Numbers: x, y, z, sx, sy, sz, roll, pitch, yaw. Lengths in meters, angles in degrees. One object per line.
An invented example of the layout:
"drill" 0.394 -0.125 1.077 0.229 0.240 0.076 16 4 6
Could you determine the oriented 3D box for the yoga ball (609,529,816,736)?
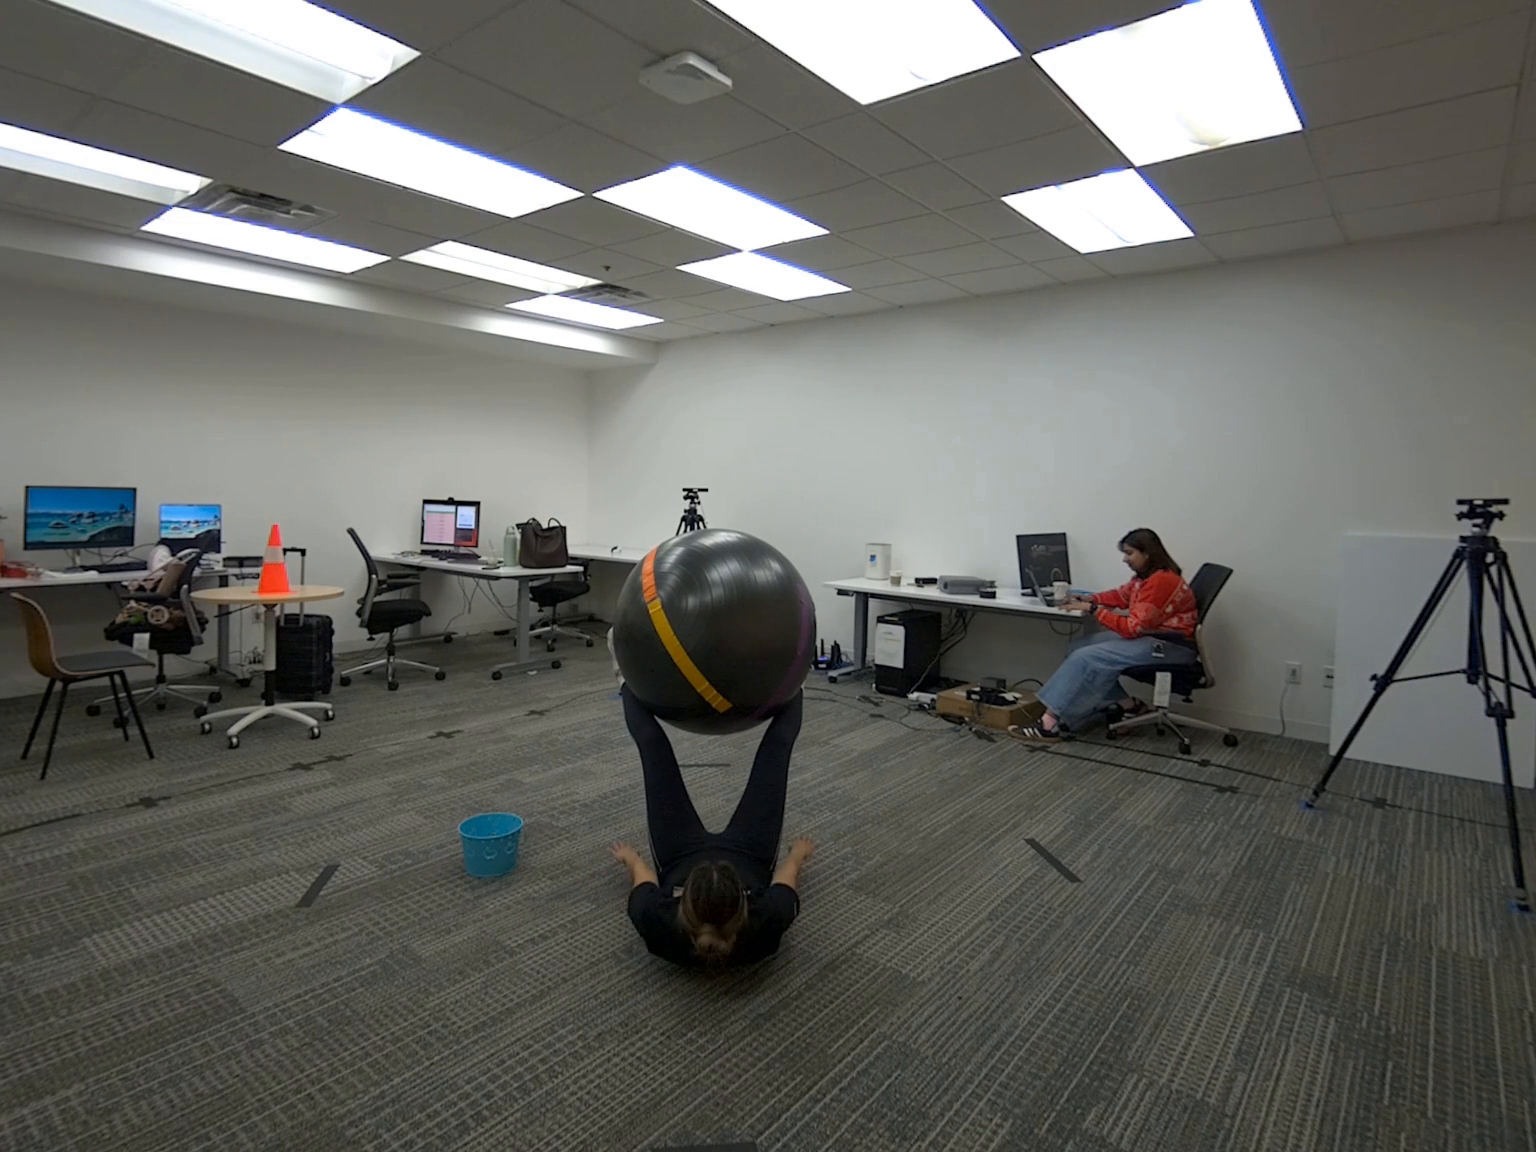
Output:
"yoga ball" -0.200 0.206 3.145 0.757 0.756 0.762 1 4 -2
